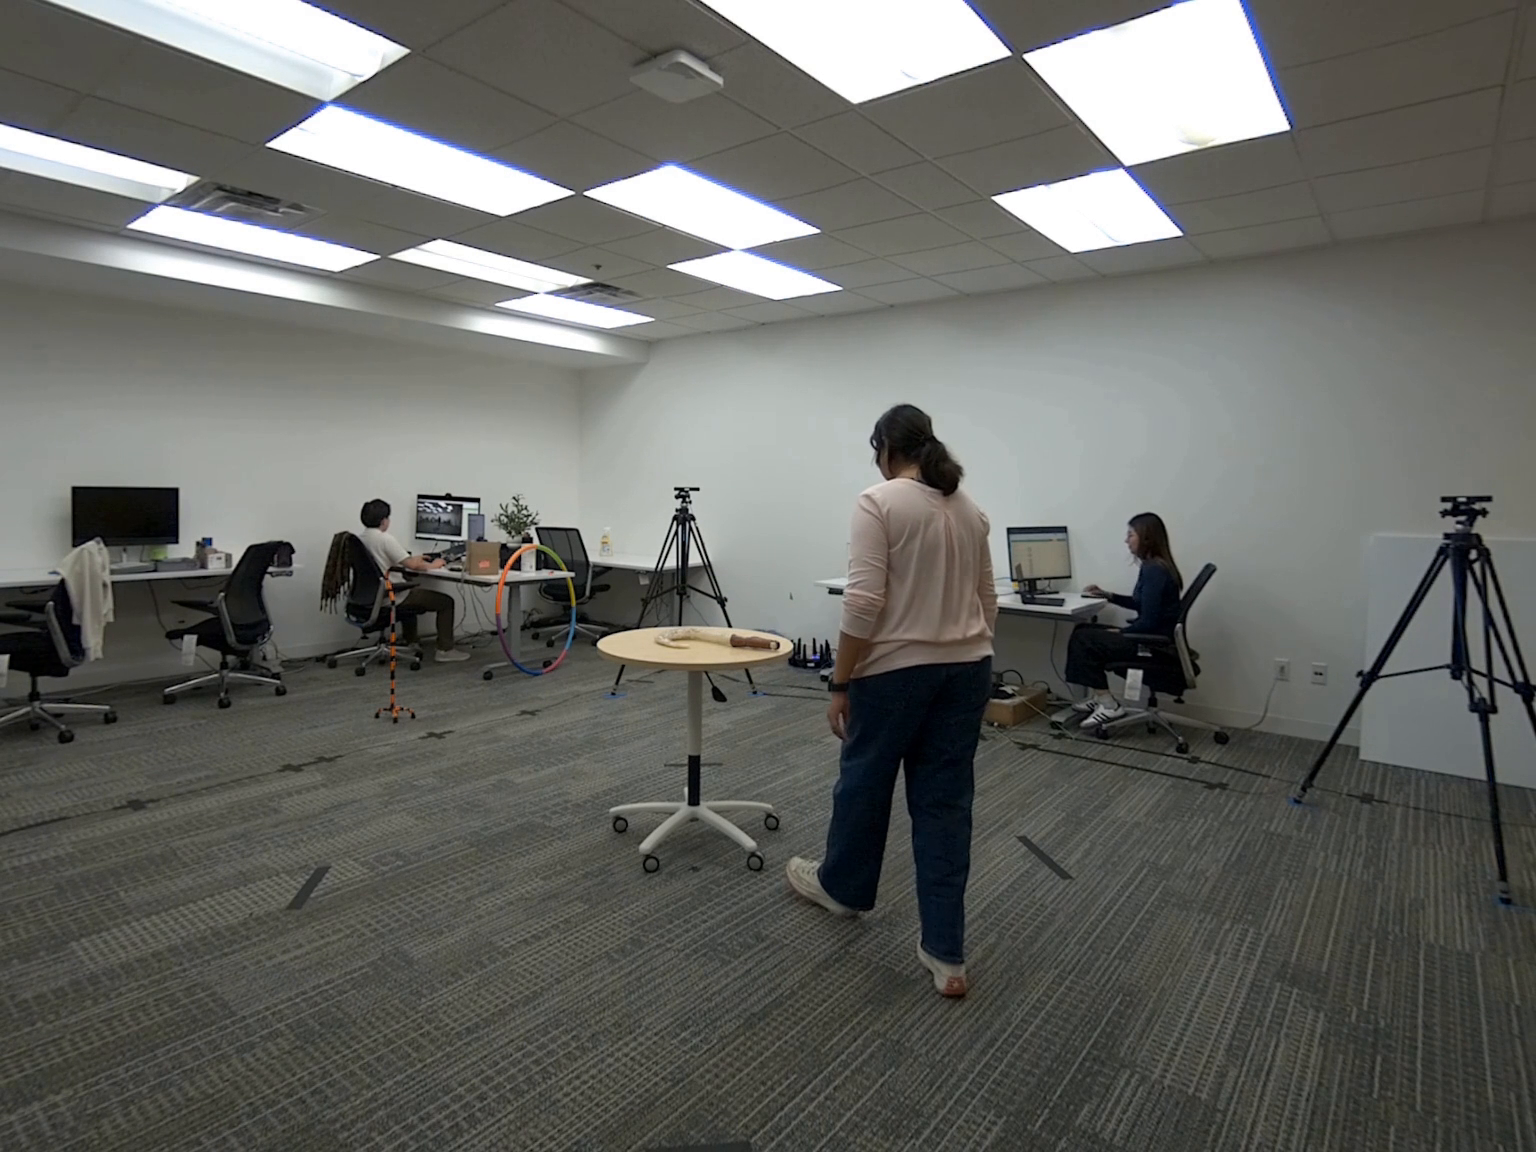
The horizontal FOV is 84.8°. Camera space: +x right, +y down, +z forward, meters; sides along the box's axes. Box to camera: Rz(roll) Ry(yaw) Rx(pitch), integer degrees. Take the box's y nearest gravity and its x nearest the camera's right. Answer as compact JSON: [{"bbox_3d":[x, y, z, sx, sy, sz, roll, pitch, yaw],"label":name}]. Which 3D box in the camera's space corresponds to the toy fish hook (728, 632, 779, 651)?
[{"bbox_3d":[-0.222,0.255,3.267,0.521,0.048,0.221,3,16,29],"label":"toy fish hook"}]
